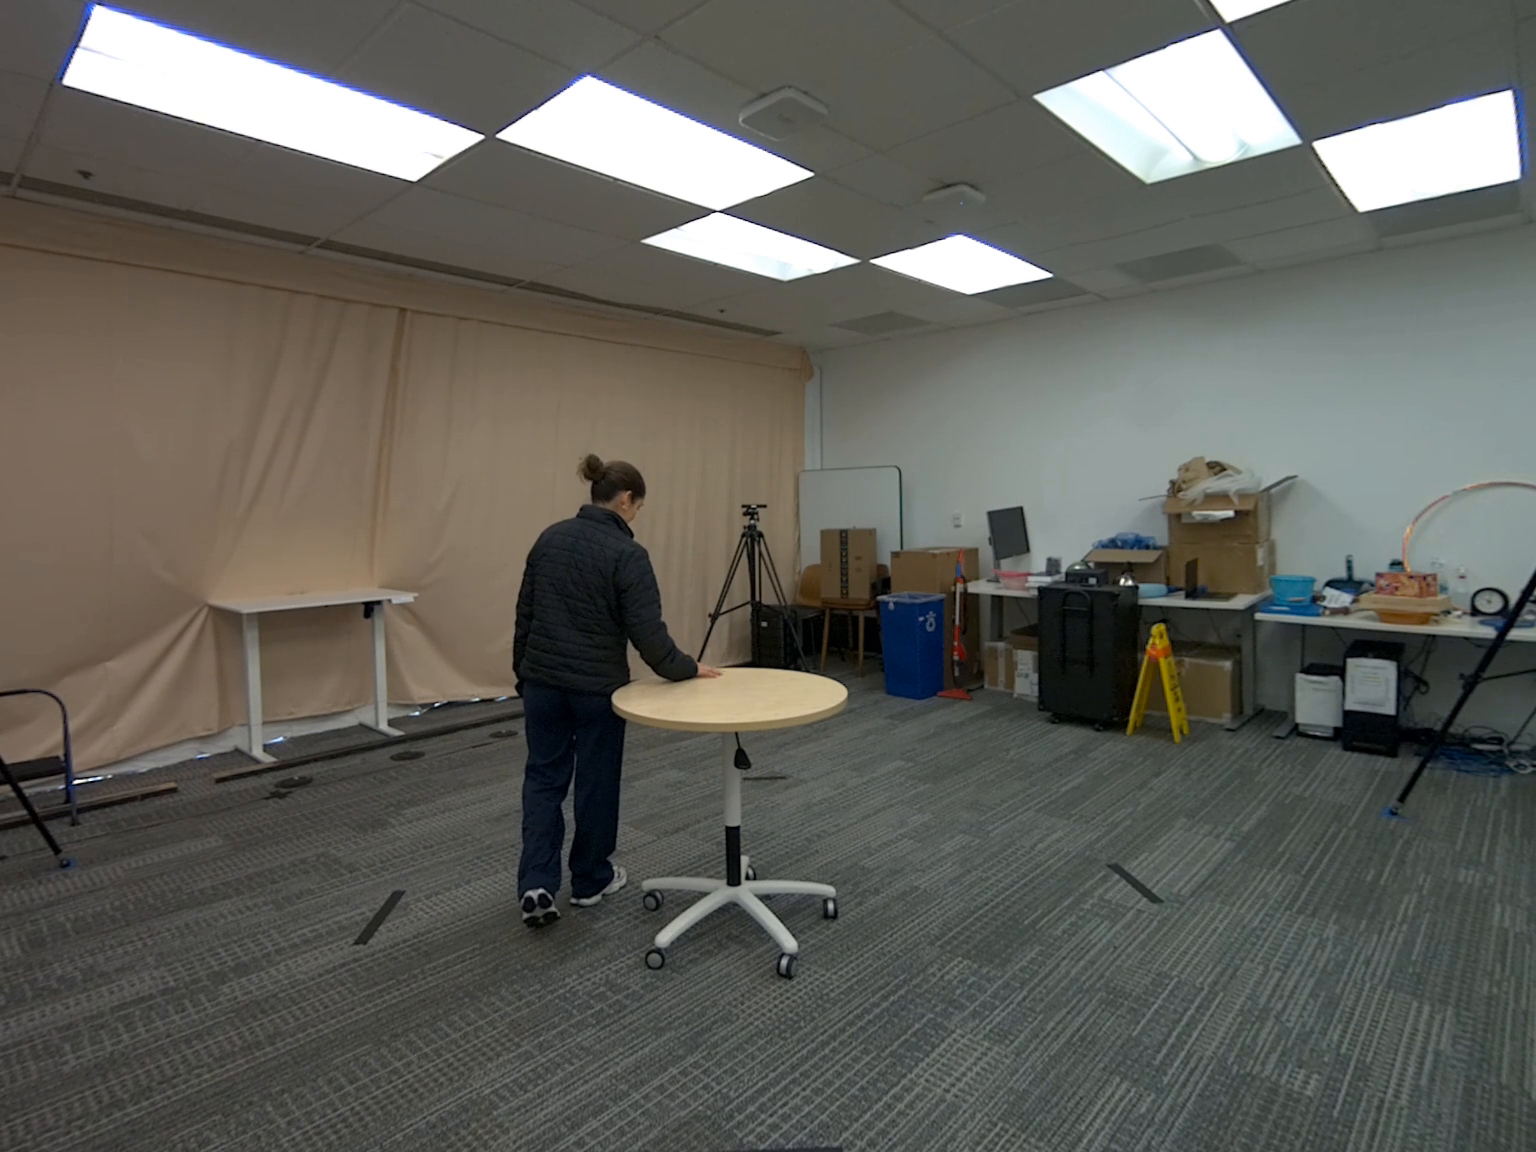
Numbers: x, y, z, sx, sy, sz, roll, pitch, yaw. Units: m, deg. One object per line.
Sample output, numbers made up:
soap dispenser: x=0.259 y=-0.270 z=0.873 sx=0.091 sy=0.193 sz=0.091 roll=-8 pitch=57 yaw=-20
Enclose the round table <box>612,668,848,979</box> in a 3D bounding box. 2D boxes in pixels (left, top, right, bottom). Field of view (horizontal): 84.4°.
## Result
round table: x=-0.108 y=0.766 z=2.780 sx=0.784 sy=0.785 sz=0.788 roll=-2 pitch=4 yaw=-2
